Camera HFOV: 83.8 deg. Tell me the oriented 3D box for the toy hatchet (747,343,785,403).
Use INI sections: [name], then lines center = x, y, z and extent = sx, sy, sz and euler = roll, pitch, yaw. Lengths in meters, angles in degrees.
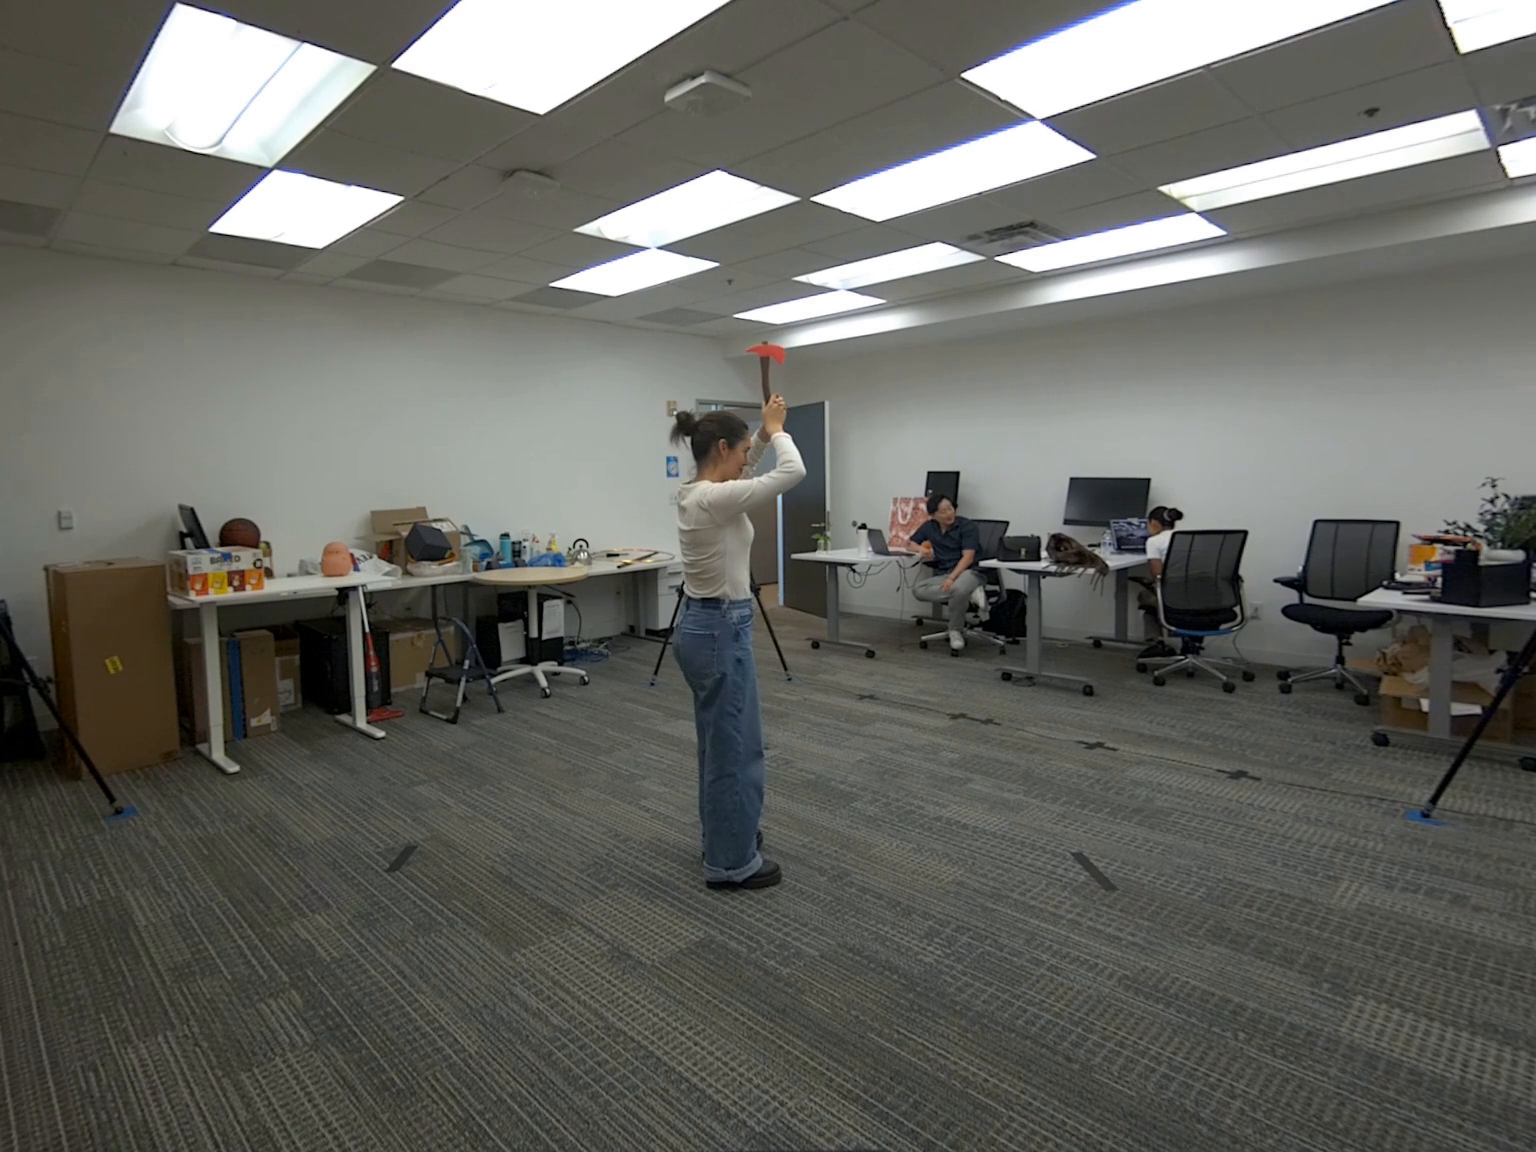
[toy hatchet]
center = 0.021, -0.677, 2.931
extent = 0.130, 0.266, 0.030
euler = -22, 13, -10
